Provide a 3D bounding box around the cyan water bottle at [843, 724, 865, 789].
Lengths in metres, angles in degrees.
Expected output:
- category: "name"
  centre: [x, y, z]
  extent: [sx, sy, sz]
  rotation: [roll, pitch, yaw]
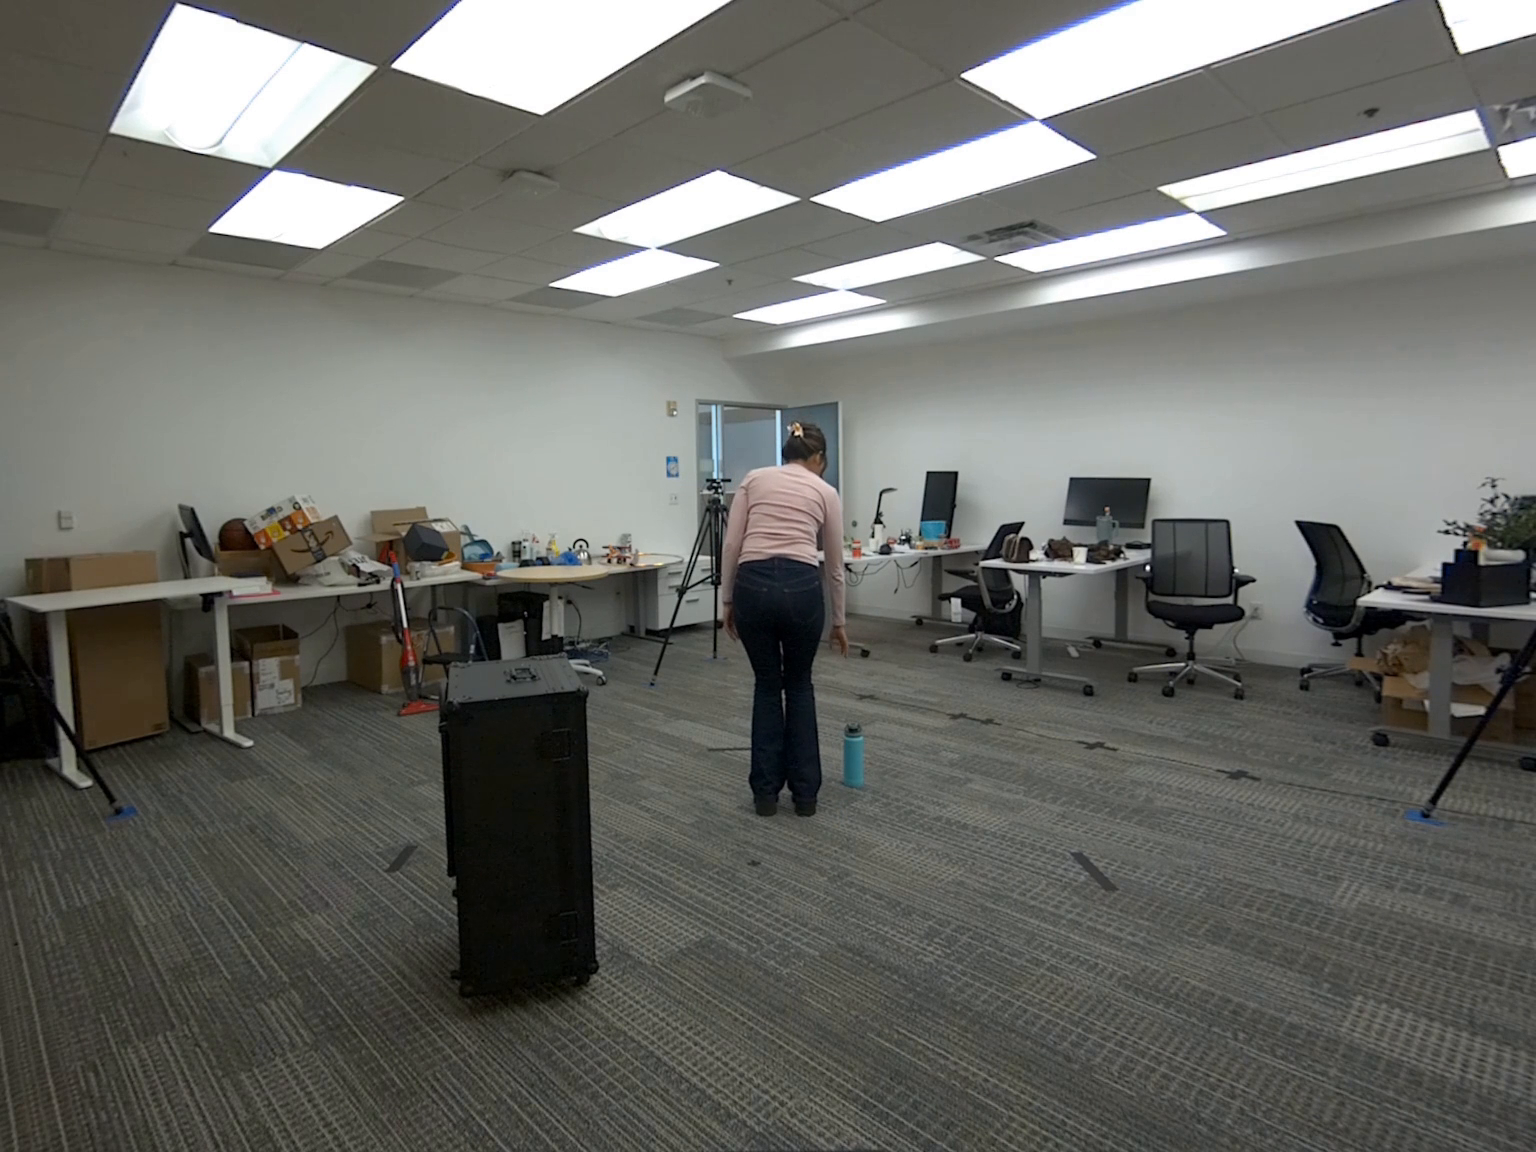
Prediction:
- category: "cyan water bottle"
  centre: [0.391, 0.810, 3.890]
  extent: [0.092, 0.283, 0.092]
  rotation: [-1, 2, -2]
